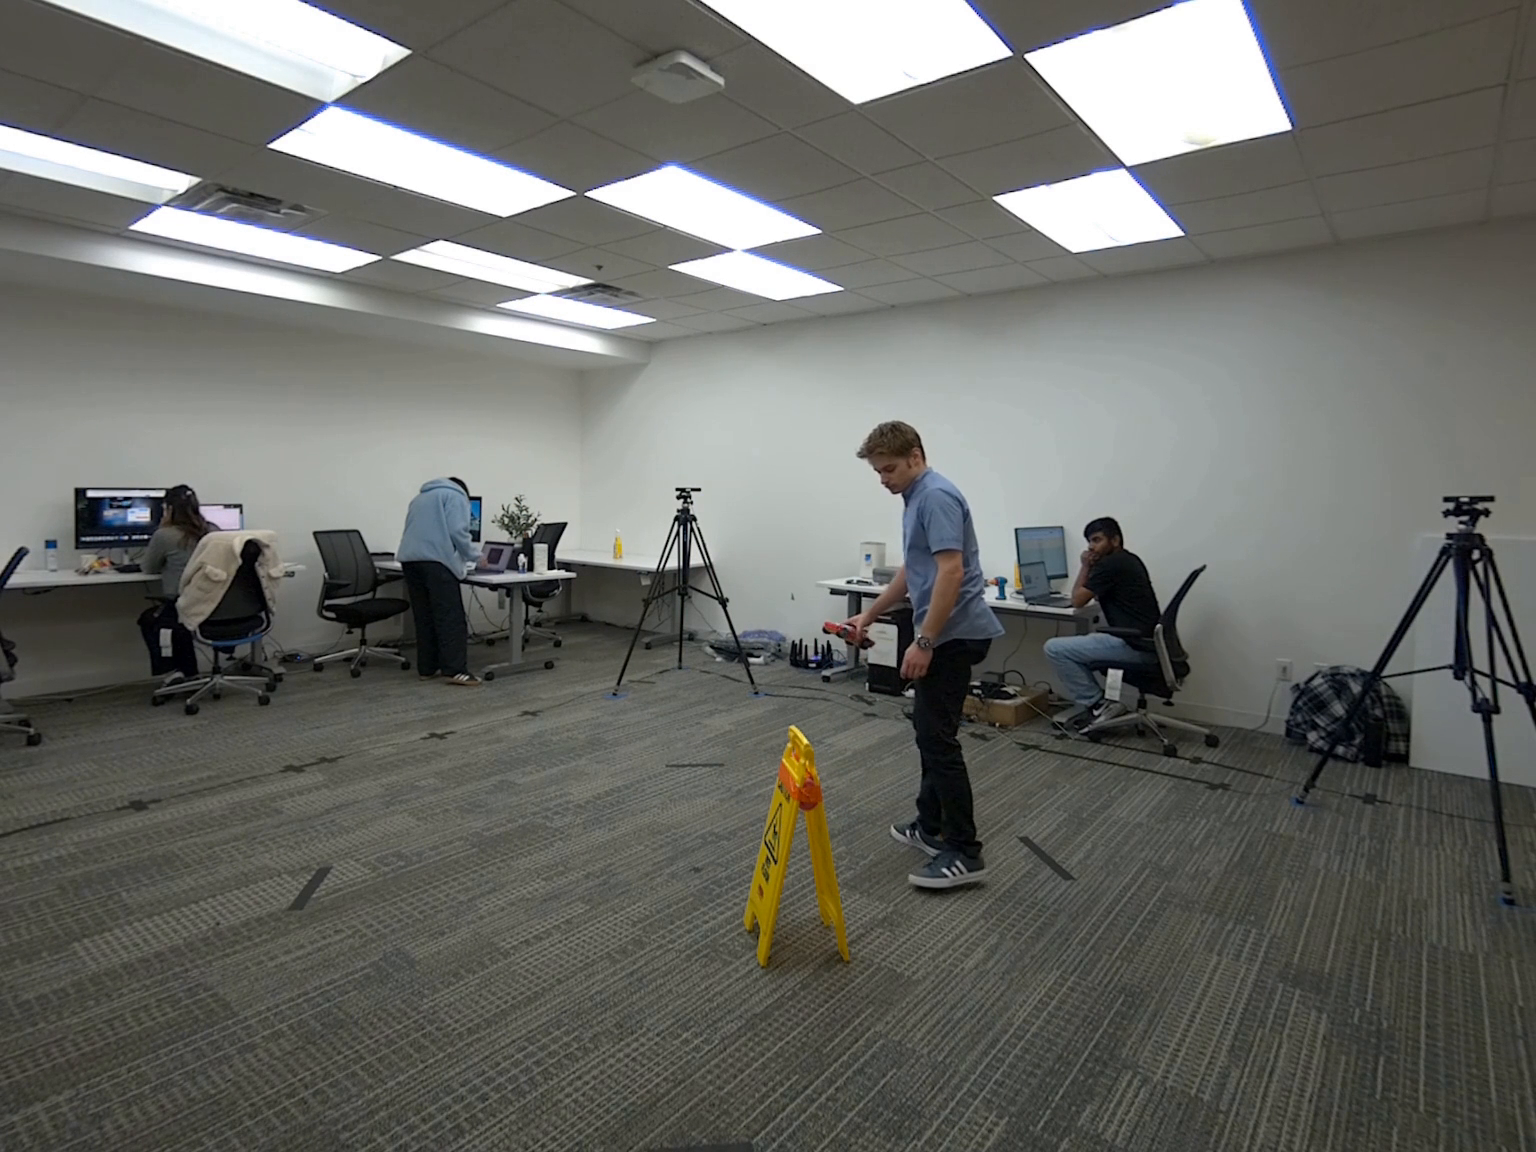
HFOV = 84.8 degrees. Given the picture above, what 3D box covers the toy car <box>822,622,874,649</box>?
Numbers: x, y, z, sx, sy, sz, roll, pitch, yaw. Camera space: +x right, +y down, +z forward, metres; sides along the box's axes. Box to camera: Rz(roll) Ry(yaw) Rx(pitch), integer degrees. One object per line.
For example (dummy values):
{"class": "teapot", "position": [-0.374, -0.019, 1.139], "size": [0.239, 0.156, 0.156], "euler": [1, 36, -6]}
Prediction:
{"class": "toy car", "position": [0.345, 0.252, 3.621], "size": [0.246, 0.083, 0.135], "euler": [13, -2, -35]}
